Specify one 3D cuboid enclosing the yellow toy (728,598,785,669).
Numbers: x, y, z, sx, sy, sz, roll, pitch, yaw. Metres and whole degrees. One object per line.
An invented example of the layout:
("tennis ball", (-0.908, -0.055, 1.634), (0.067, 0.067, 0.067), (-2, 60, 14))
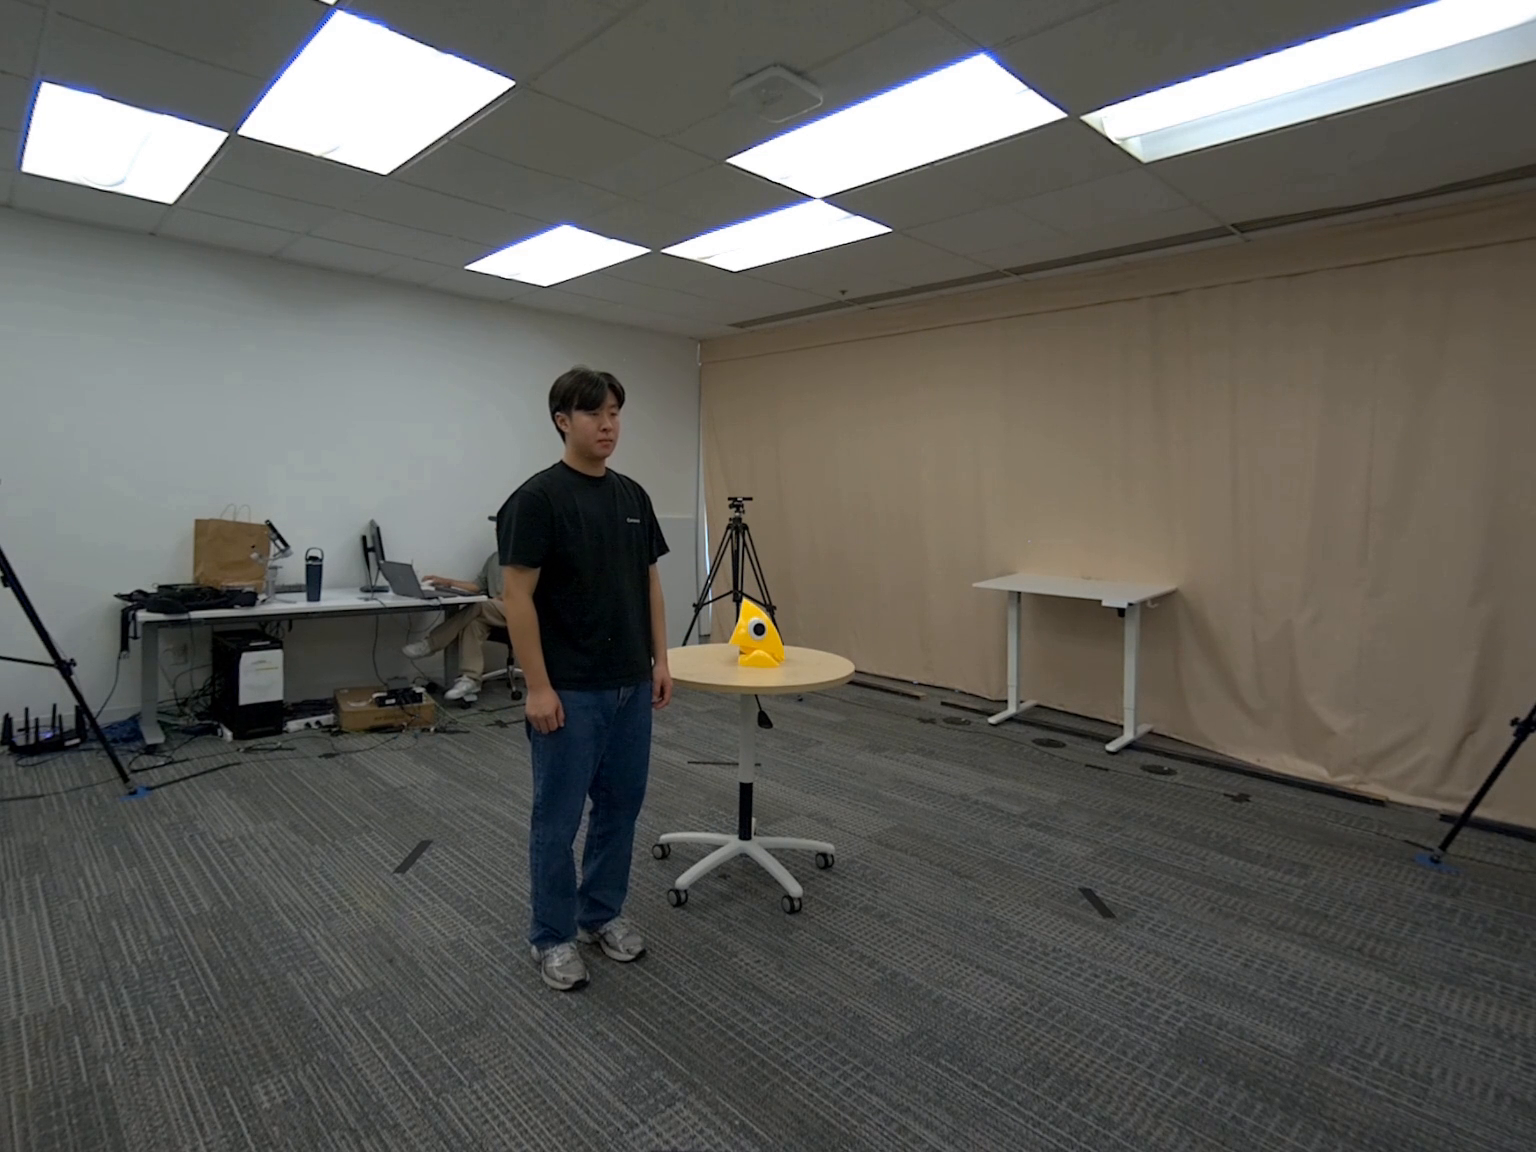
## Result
("yellow toy", (-0.039, 0.201, 3.076), (0.195, 0.230, 0.203), (2, 4, 11))
